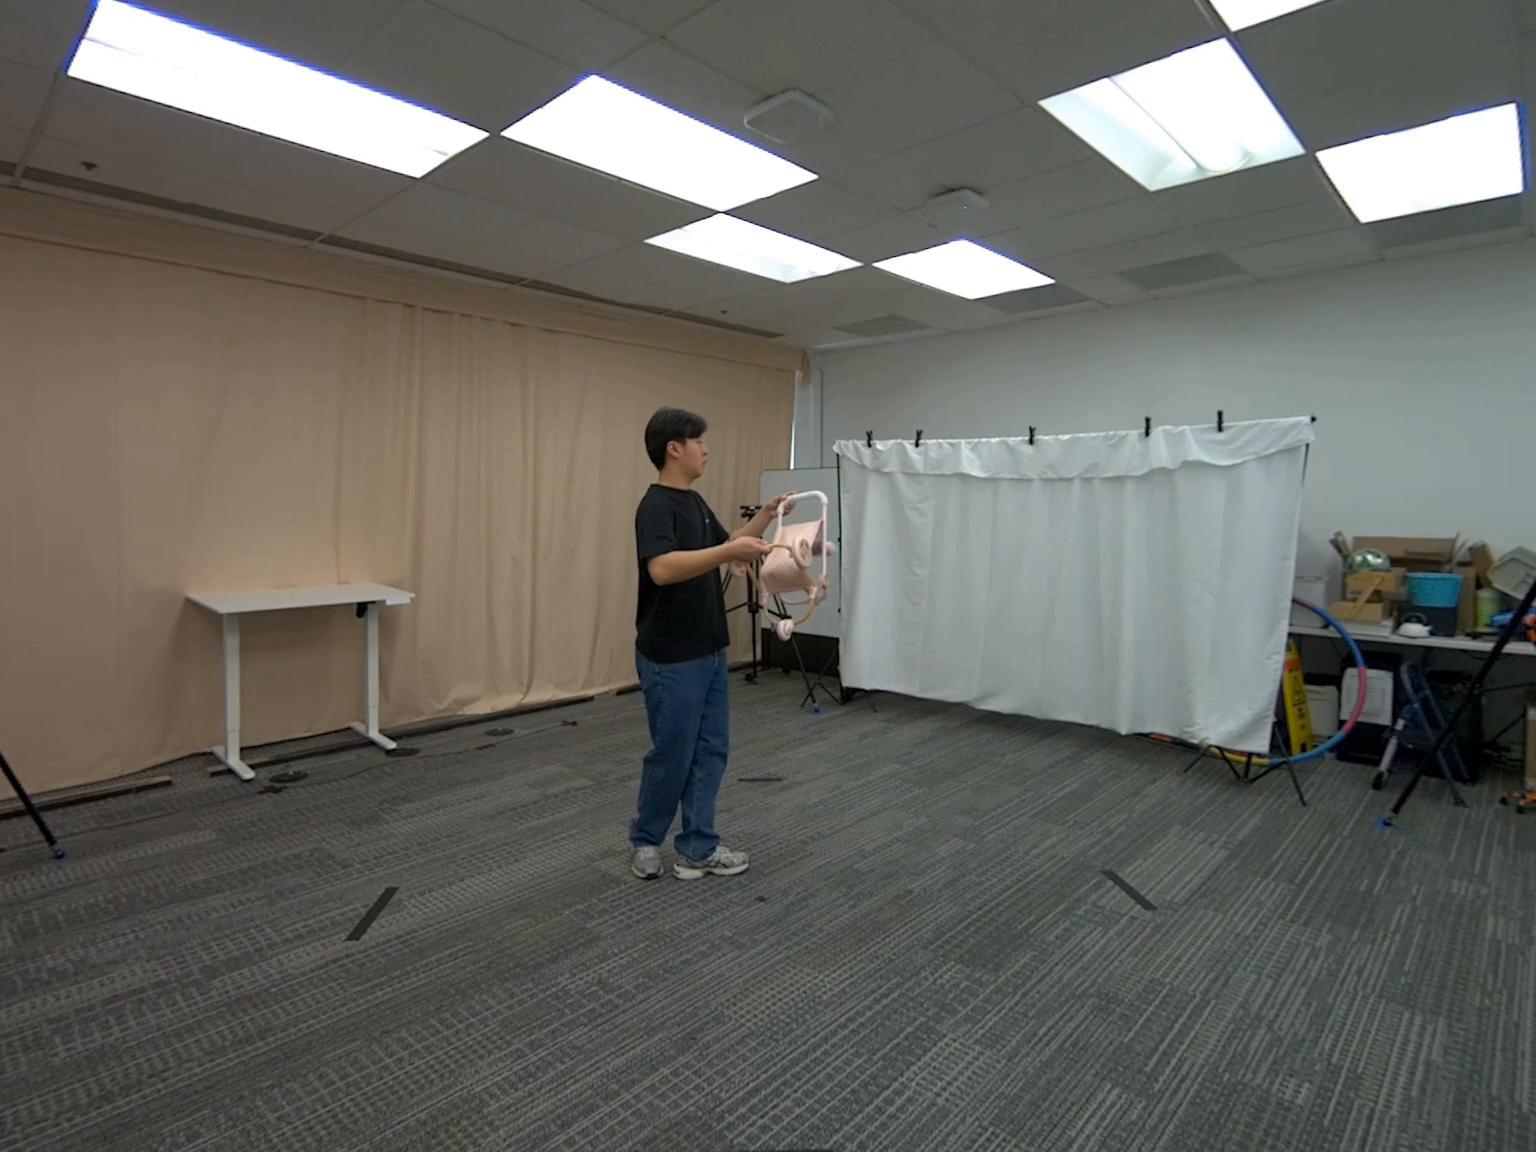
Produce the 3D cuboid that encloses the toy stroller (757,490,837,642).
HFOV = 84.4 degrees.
[{"bbox_3d":[0.093,-0.037,2.992,0.288,0.335,0.532,-13,21,30],"label":"toy stroller"}]
